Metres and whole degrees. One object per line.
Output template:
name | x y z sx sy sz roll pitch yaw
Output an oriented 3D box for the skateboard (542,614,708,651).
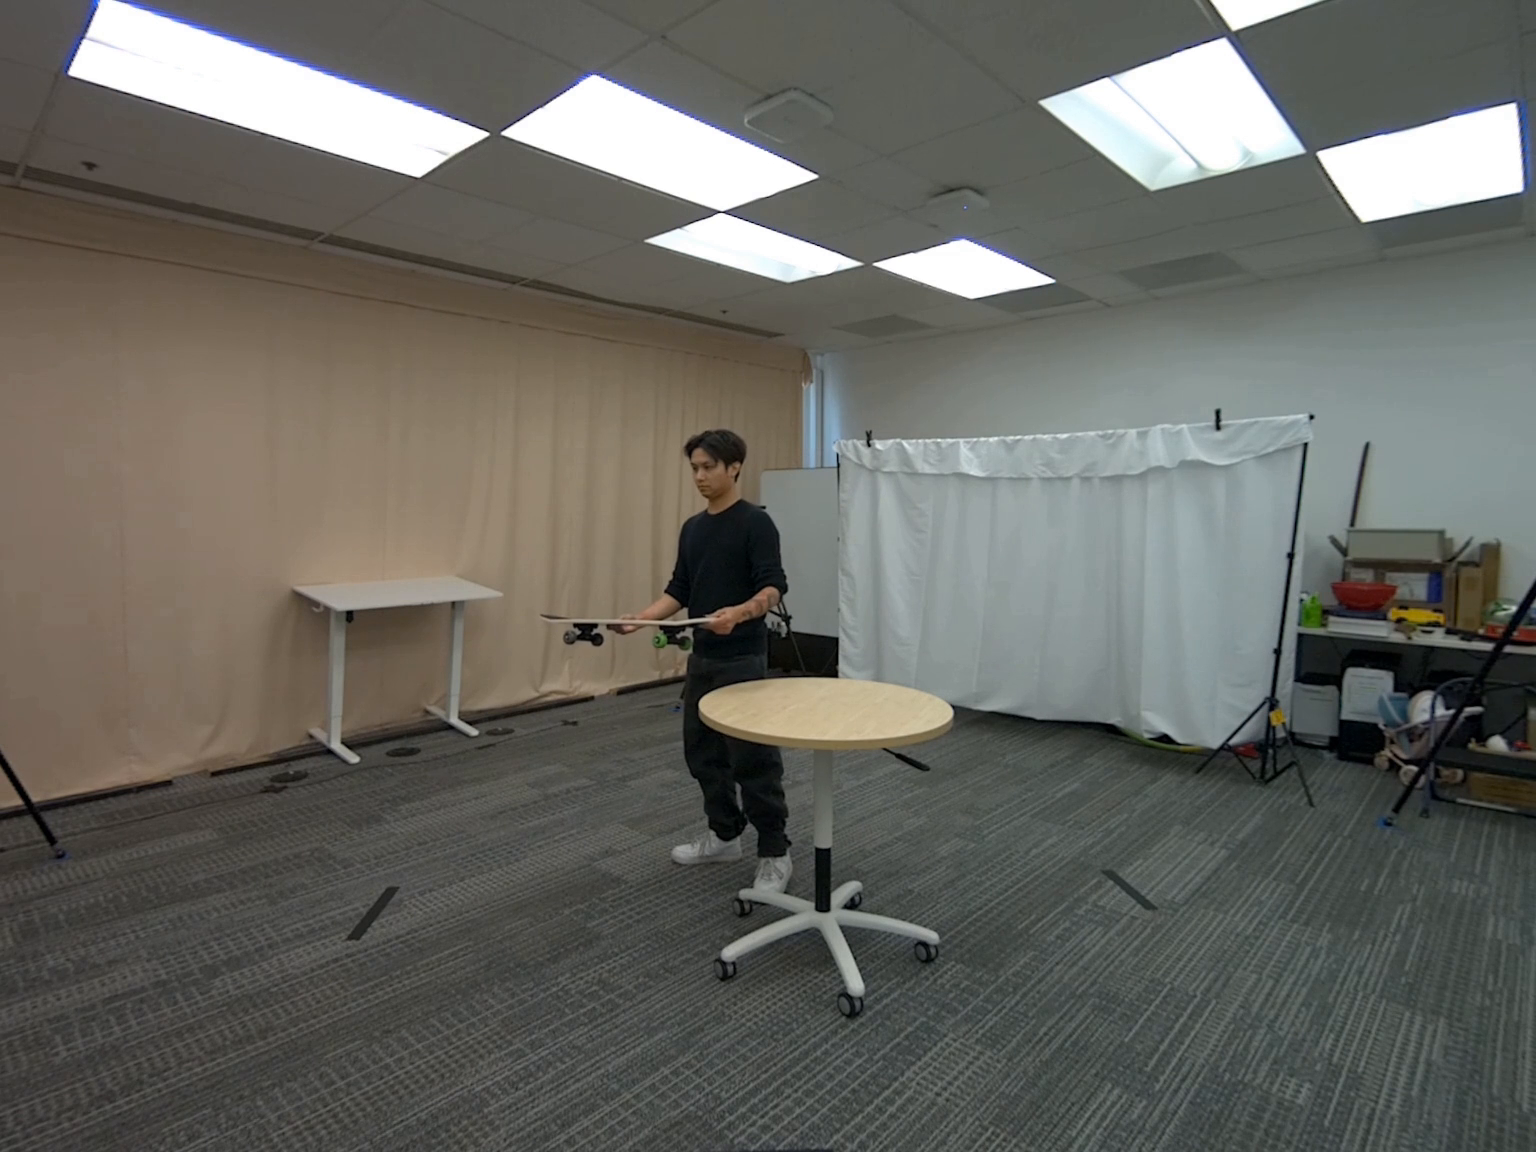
skateboard | -0.493 0.204 3.014 0.808 0.111 0.187 0 -8 31
